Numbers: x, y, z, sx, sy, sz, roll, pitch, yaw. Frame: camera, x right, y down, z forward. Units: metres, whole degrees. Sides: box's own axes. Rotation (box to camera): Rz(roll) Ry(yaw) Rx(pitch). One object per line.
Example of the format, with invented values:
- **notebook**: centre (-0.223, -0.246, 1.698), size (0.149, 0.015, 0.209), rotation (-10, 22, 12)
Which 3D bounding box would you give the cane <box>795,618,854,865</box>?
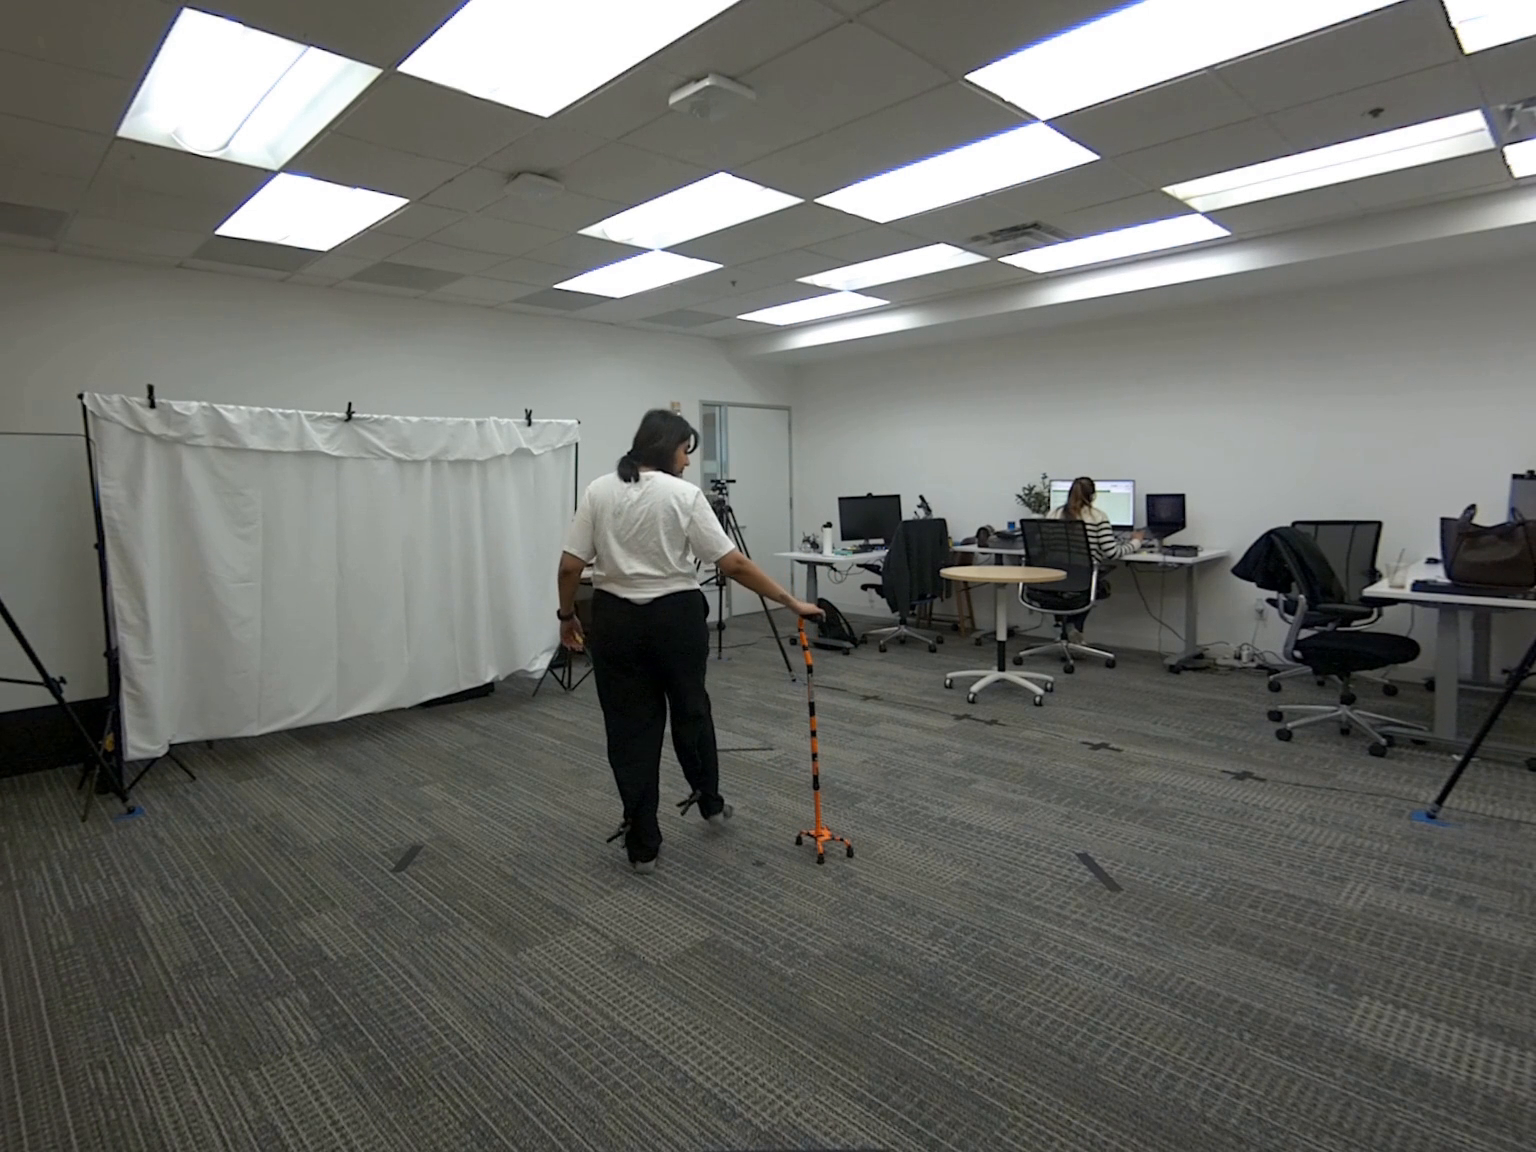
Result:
- **cane**: centre (0.186, 0.576, 3.177), size (0.149, 0.904, 0.211), rotation (-5, 5, -23)
